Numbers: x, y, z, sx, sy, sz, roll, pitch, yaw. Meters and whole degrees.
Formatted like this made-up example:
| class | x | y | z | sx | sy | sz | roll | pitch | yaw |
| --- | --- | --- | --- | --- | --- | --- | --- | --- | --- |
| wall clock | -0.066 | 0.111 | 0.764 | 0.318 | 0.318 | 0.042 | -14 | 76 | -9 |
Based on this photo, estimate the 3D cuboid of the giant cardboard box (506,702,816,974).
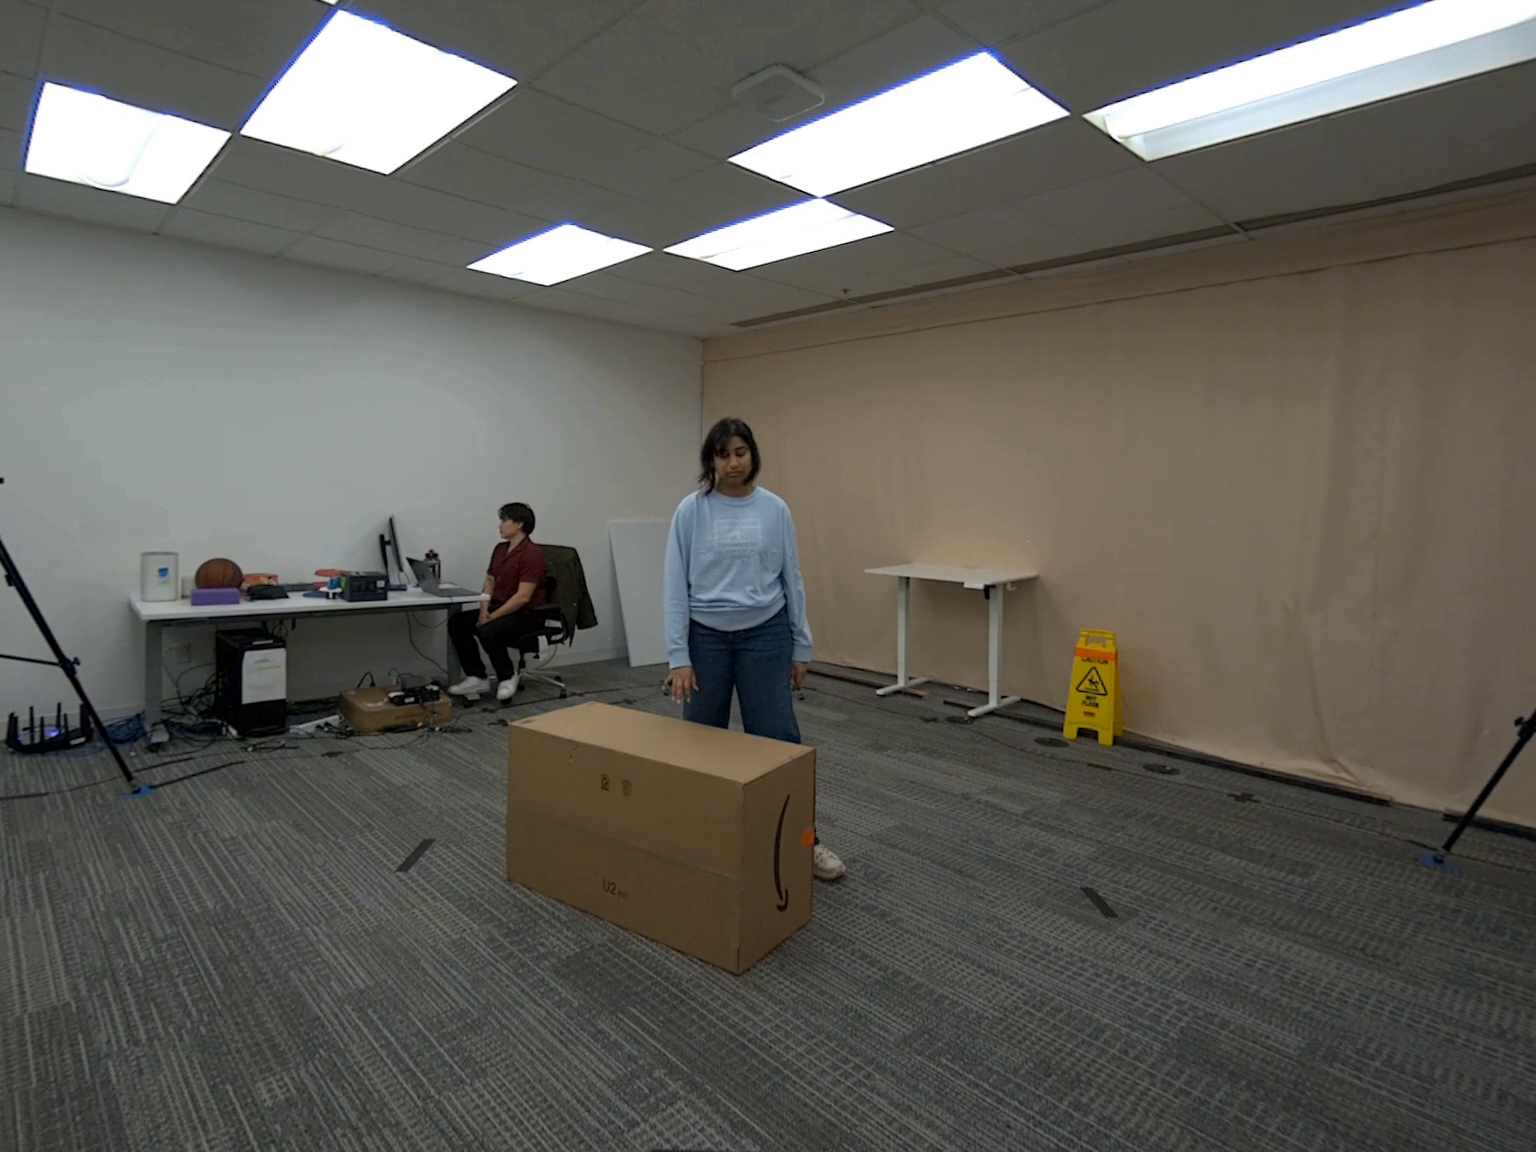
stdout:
| class | x | y | z | sx | sy | sz | roll | pitch | yaw |
| --- | --- | --- | --- | --- | --- | --- | --- | --- | --- |
| giant cardboard box | -0.400 | 0.833 | 2.886 | 1.051 | 0.582 | 0.438 | 4 | 6 | 34 |
